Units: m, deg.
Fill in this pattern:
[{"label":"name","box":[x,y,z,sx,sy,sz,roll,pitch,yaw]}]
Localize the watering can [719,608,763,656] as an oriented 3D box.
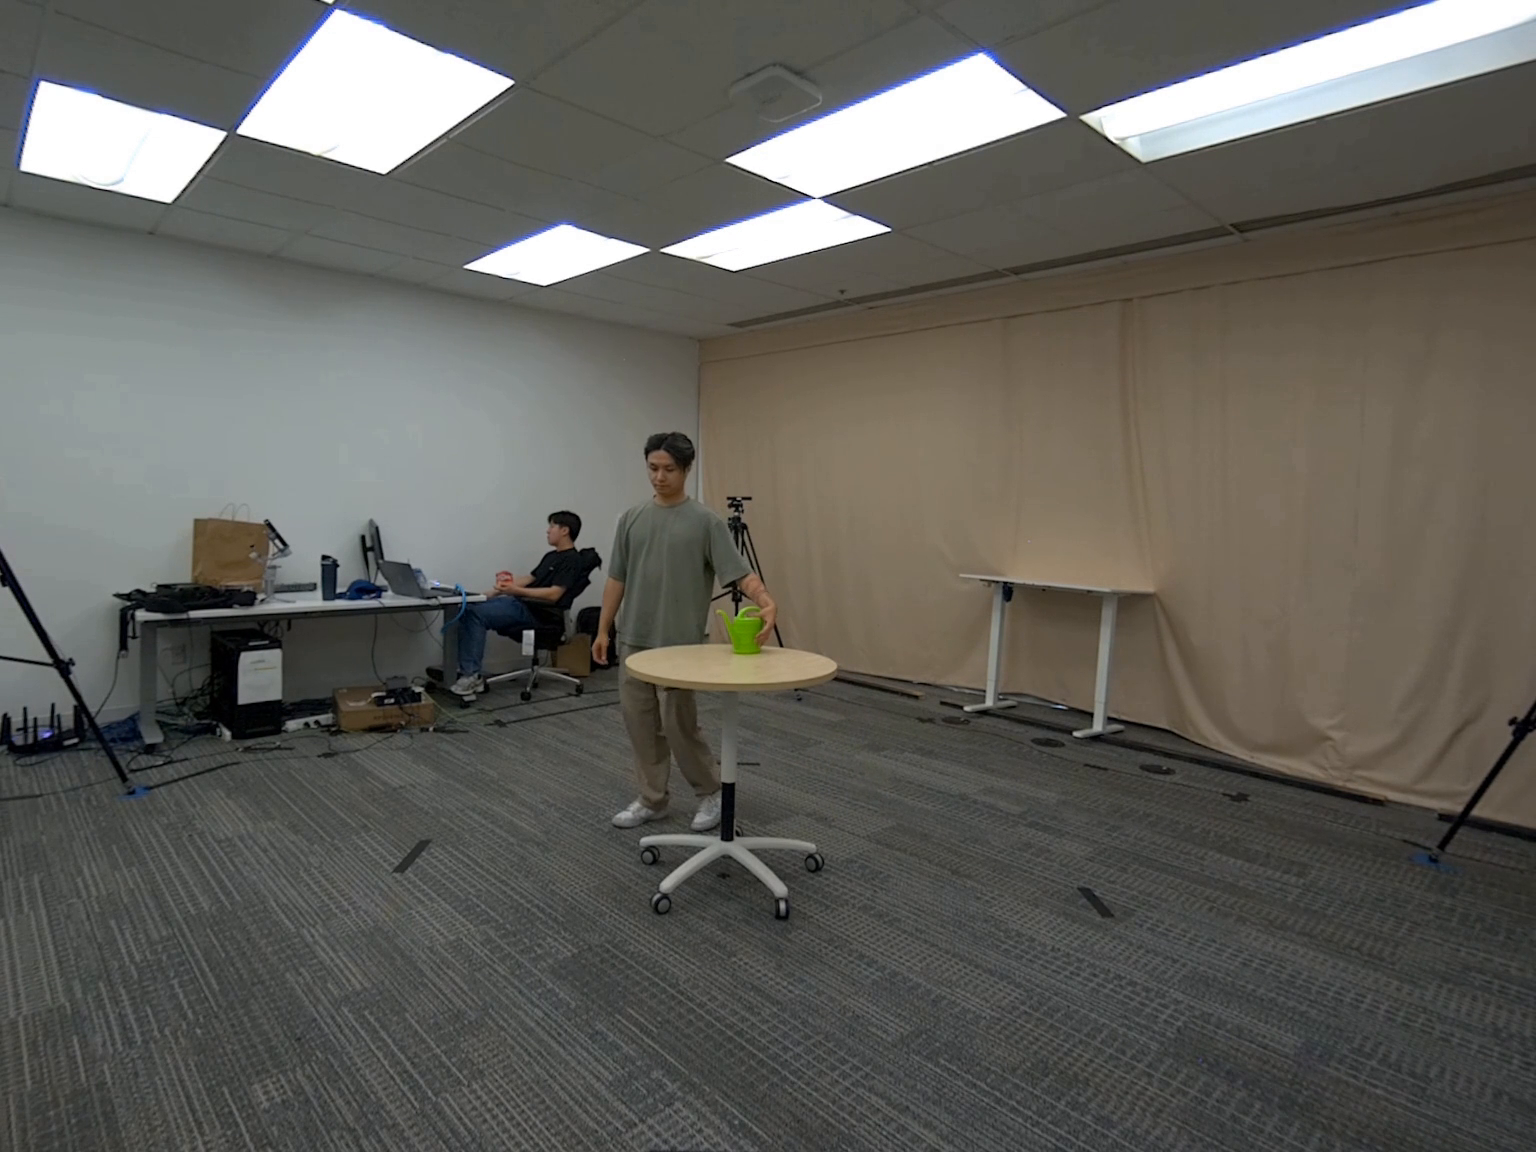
[{"label":"watering can","box":[-0.123,0.210,3.241,0.272,0.177,0.100,0,2,-38]}]
